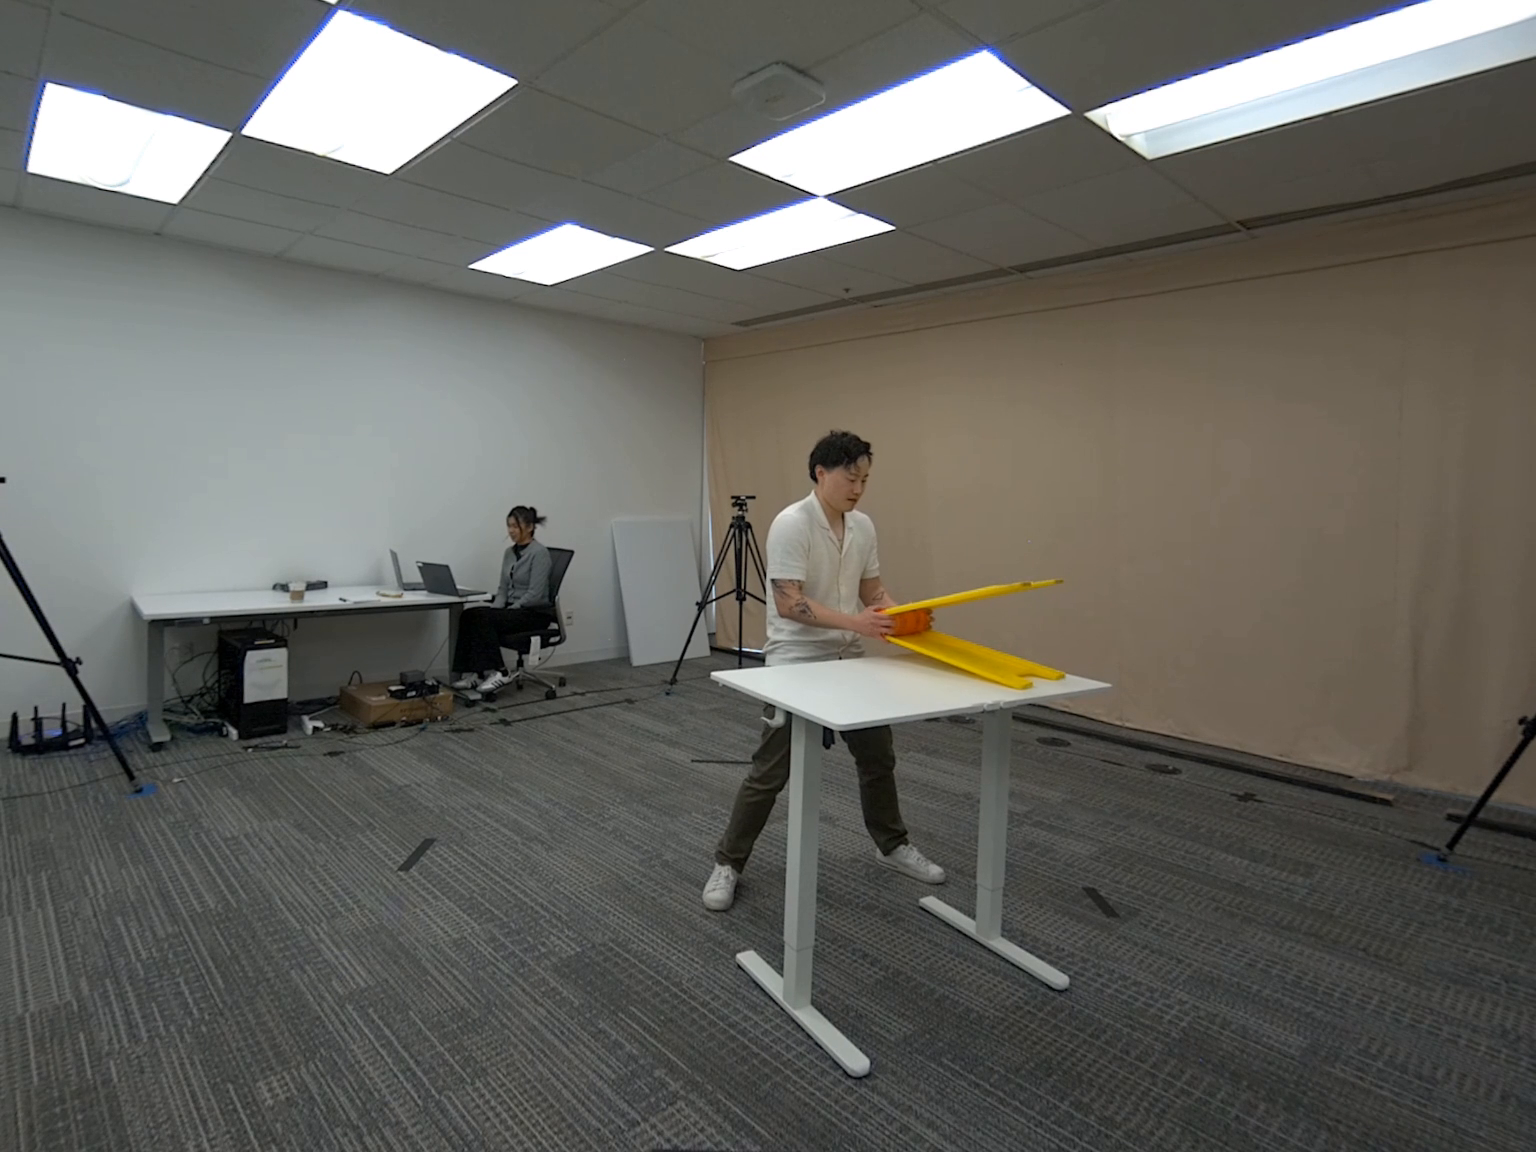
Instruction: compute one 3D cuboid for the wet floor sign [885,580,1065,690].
[{"bbox_3d":[0.555,0.155,2.645,0.662,0.289,0.276,2,3,44],"label":"wet floor sign"}]
